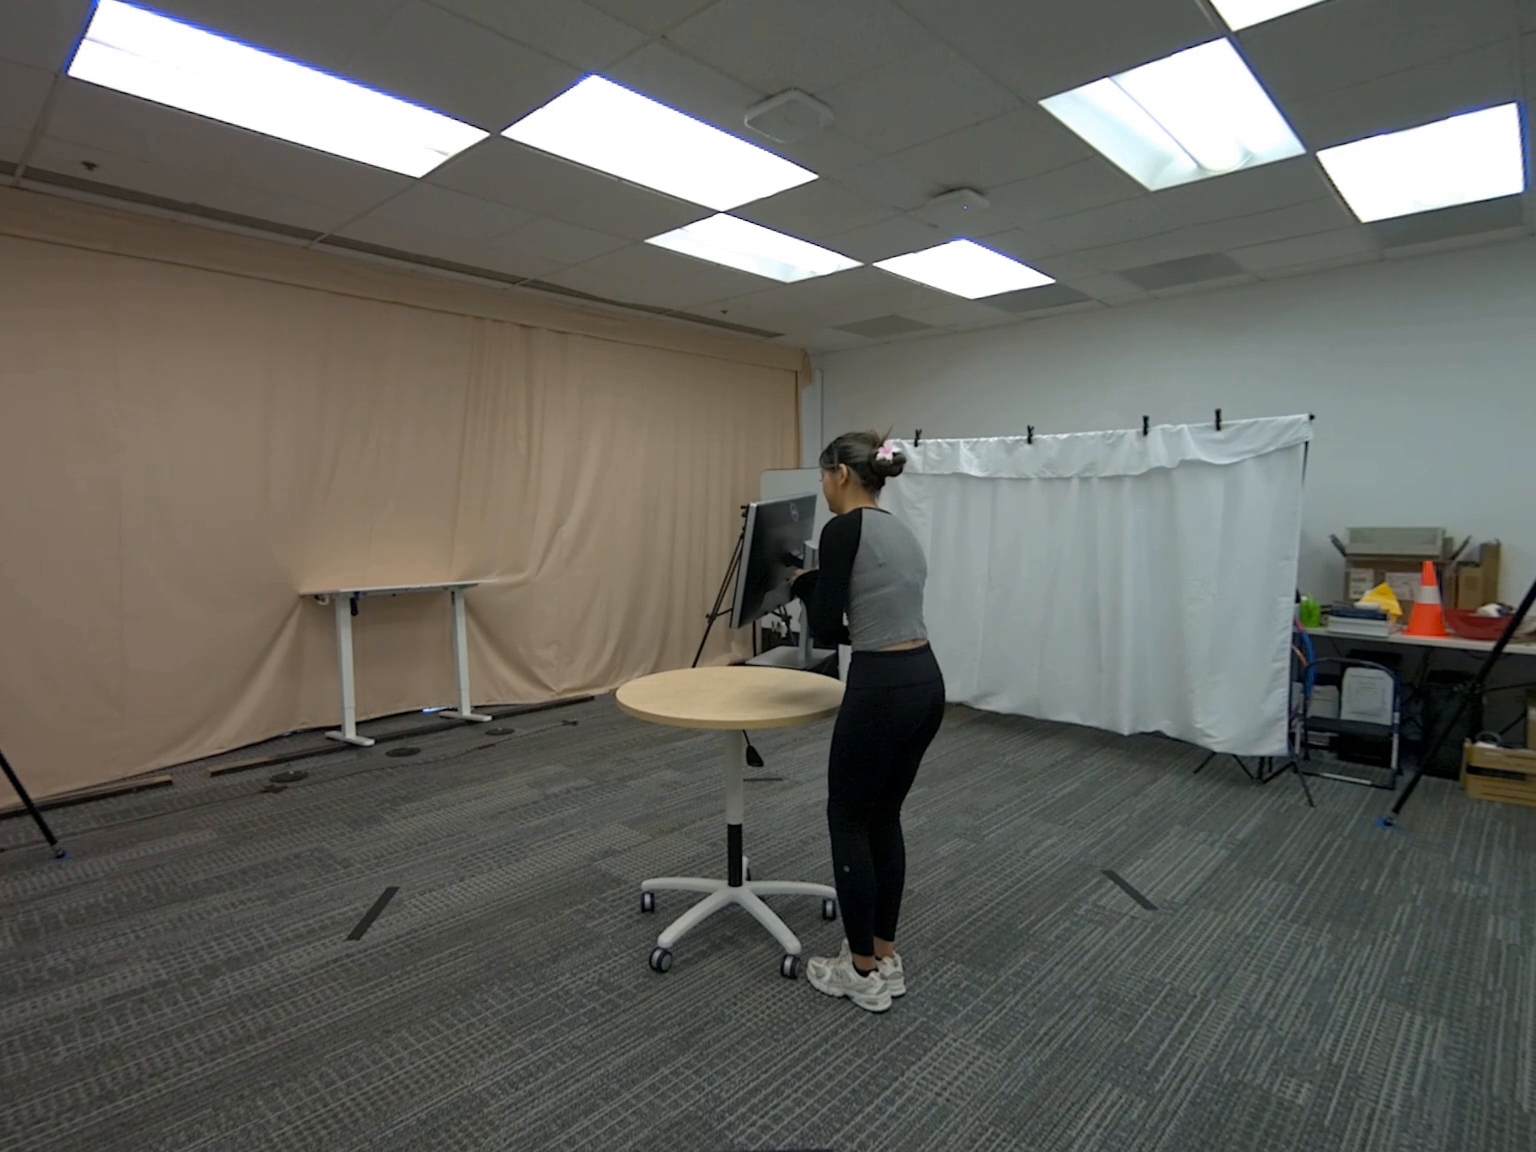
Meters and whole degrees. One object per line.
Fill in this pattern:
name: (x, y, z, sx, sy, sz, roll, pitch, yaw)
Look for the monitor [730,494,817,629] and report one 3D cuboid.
monitor: (0.073, 0.015, 2.591, 0.191, 0.520, 0.530, -1, 7, 20)
